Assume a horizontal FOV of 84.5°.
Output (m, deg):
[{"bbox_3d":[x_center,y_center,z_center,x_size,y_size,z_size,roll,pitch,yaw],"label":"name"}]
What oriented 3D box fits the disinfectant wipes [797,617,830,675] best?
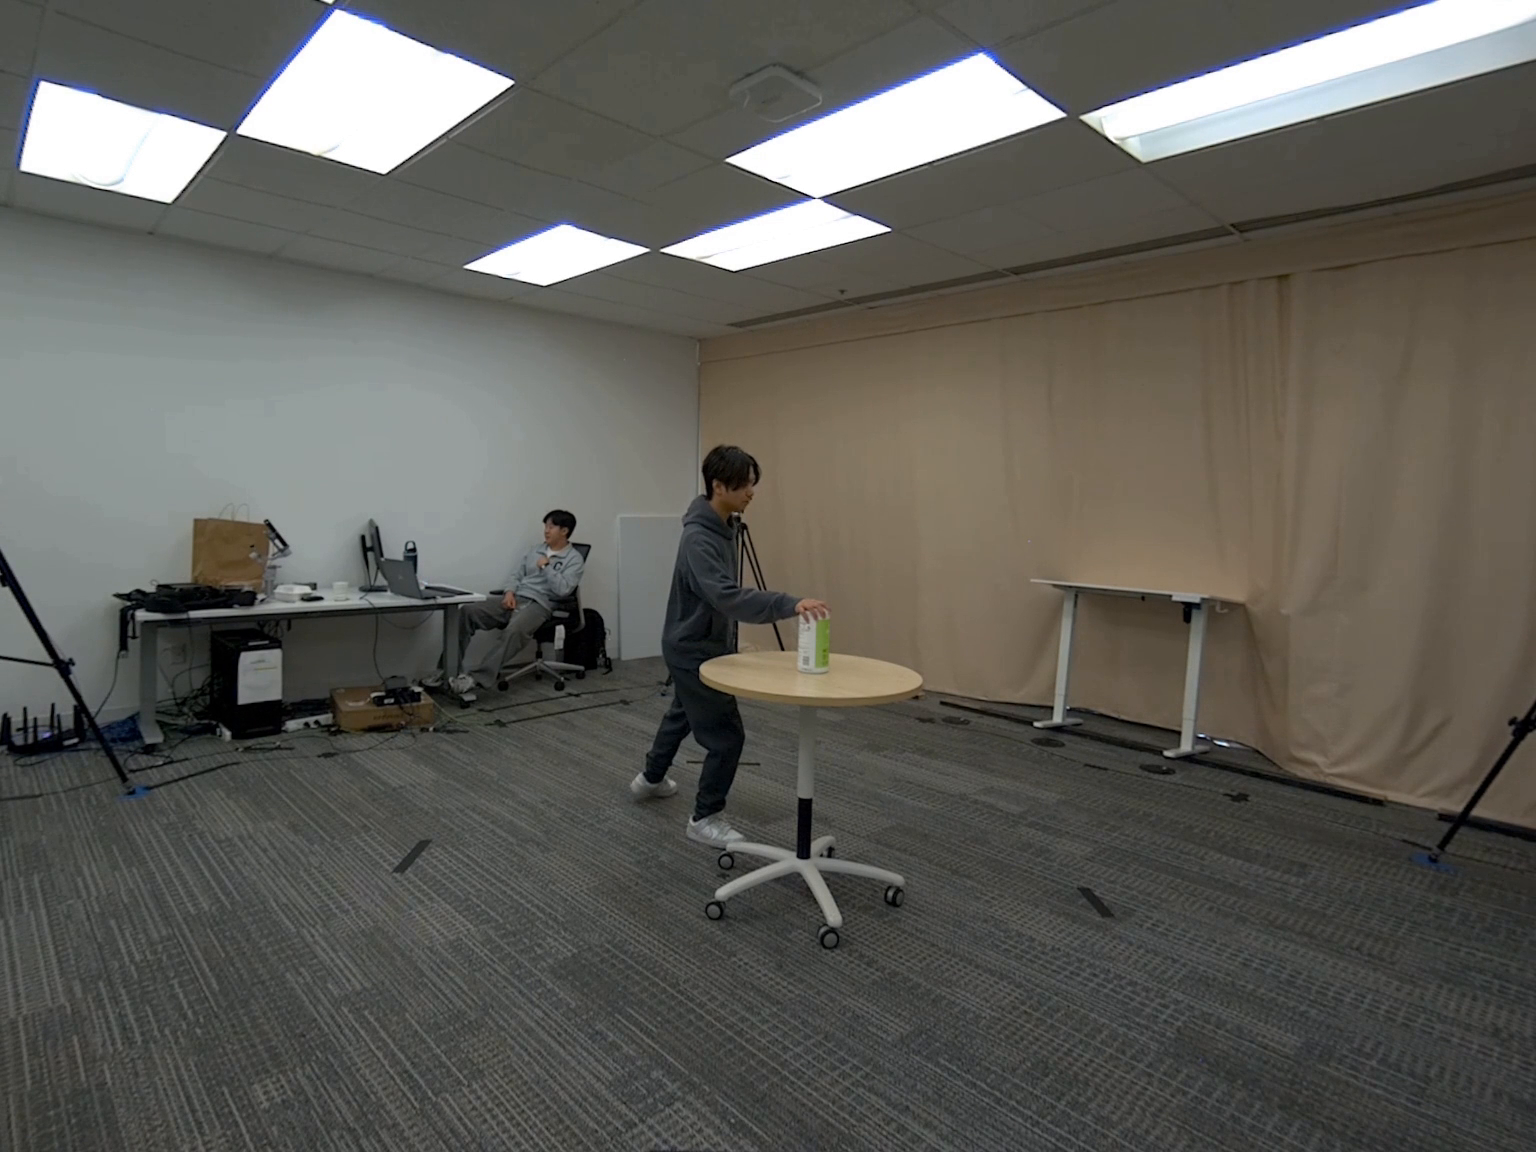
[{"bbox_3d":[0.152,0.227,2.923,0.118,0.217,0.118,1,4,-1],"label":"disinfectant wipes"}]
